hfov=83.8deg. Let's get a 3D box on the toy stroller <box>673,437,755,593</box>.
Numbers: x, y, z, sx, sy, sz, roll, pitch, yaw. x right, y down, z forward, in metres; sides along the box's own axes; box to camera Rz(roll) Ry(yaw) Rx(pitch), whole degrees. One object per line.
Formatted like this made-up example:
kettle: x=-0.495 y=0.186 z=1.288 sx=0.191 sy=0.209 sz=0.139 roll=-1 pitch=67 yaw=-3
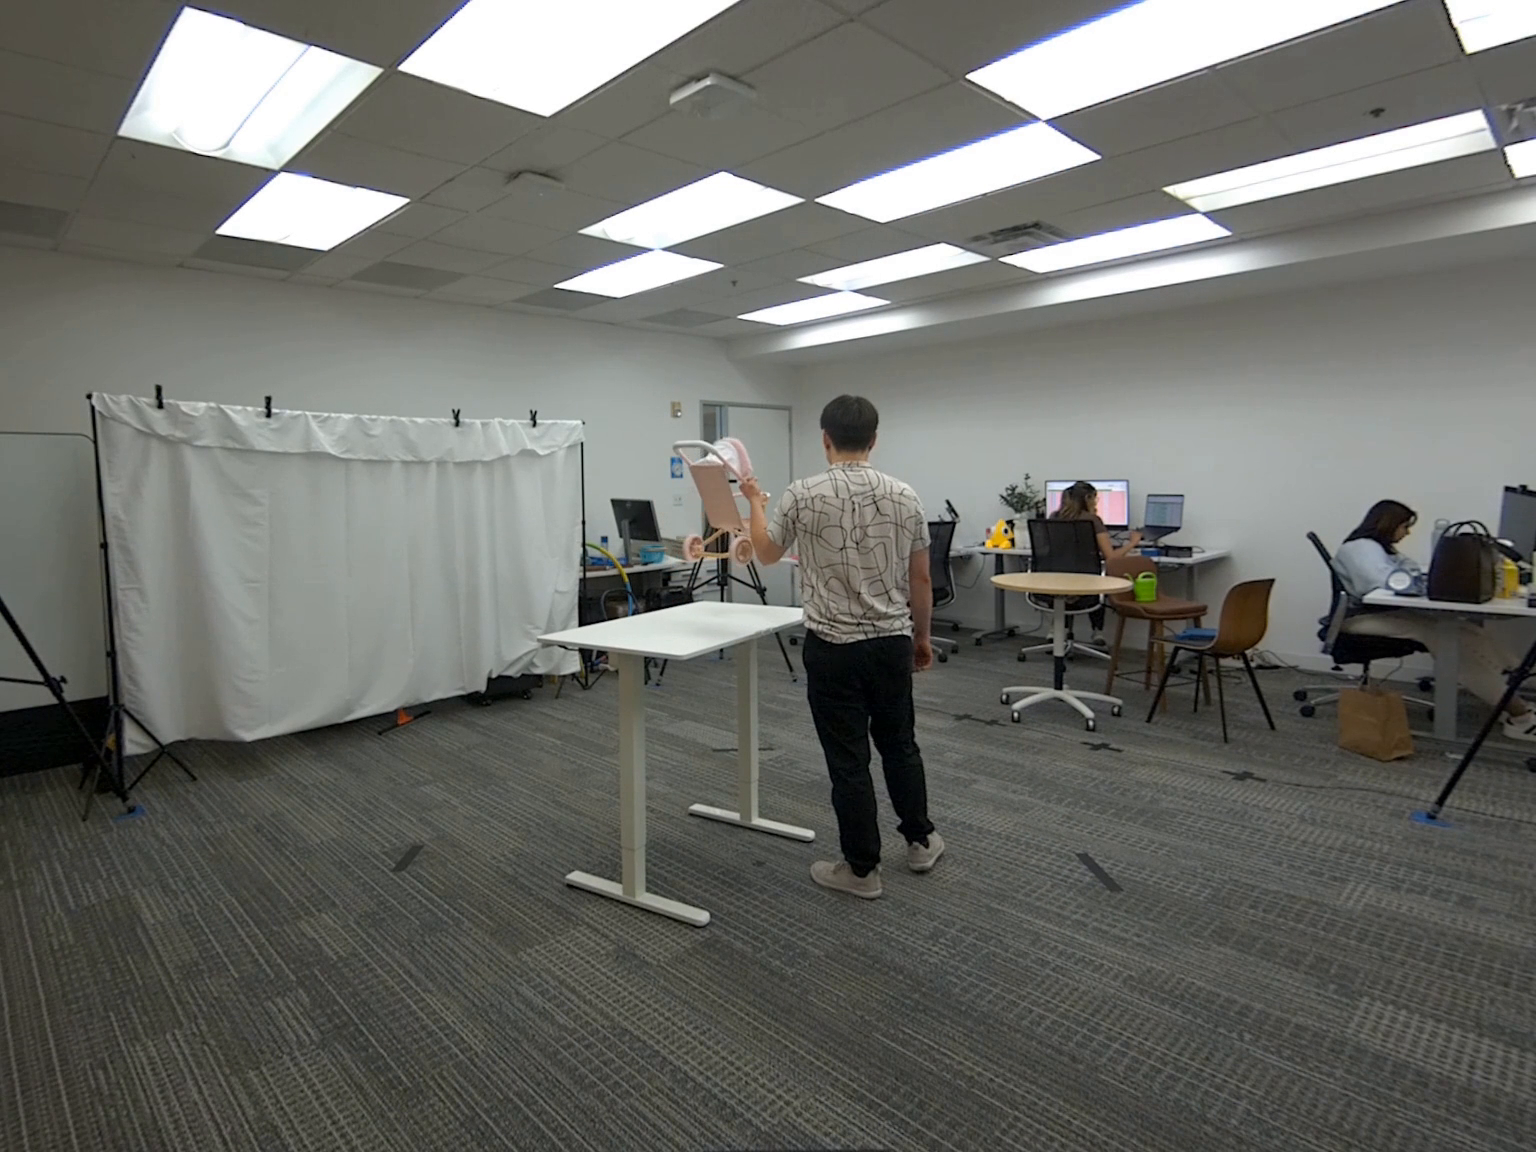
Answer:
toy stroller: x=-0.138 y=-0.277 z=3.214 sx=0.335 sy=0.527 sz=0.290 roll=-22 pitch=18 yaw=-40
